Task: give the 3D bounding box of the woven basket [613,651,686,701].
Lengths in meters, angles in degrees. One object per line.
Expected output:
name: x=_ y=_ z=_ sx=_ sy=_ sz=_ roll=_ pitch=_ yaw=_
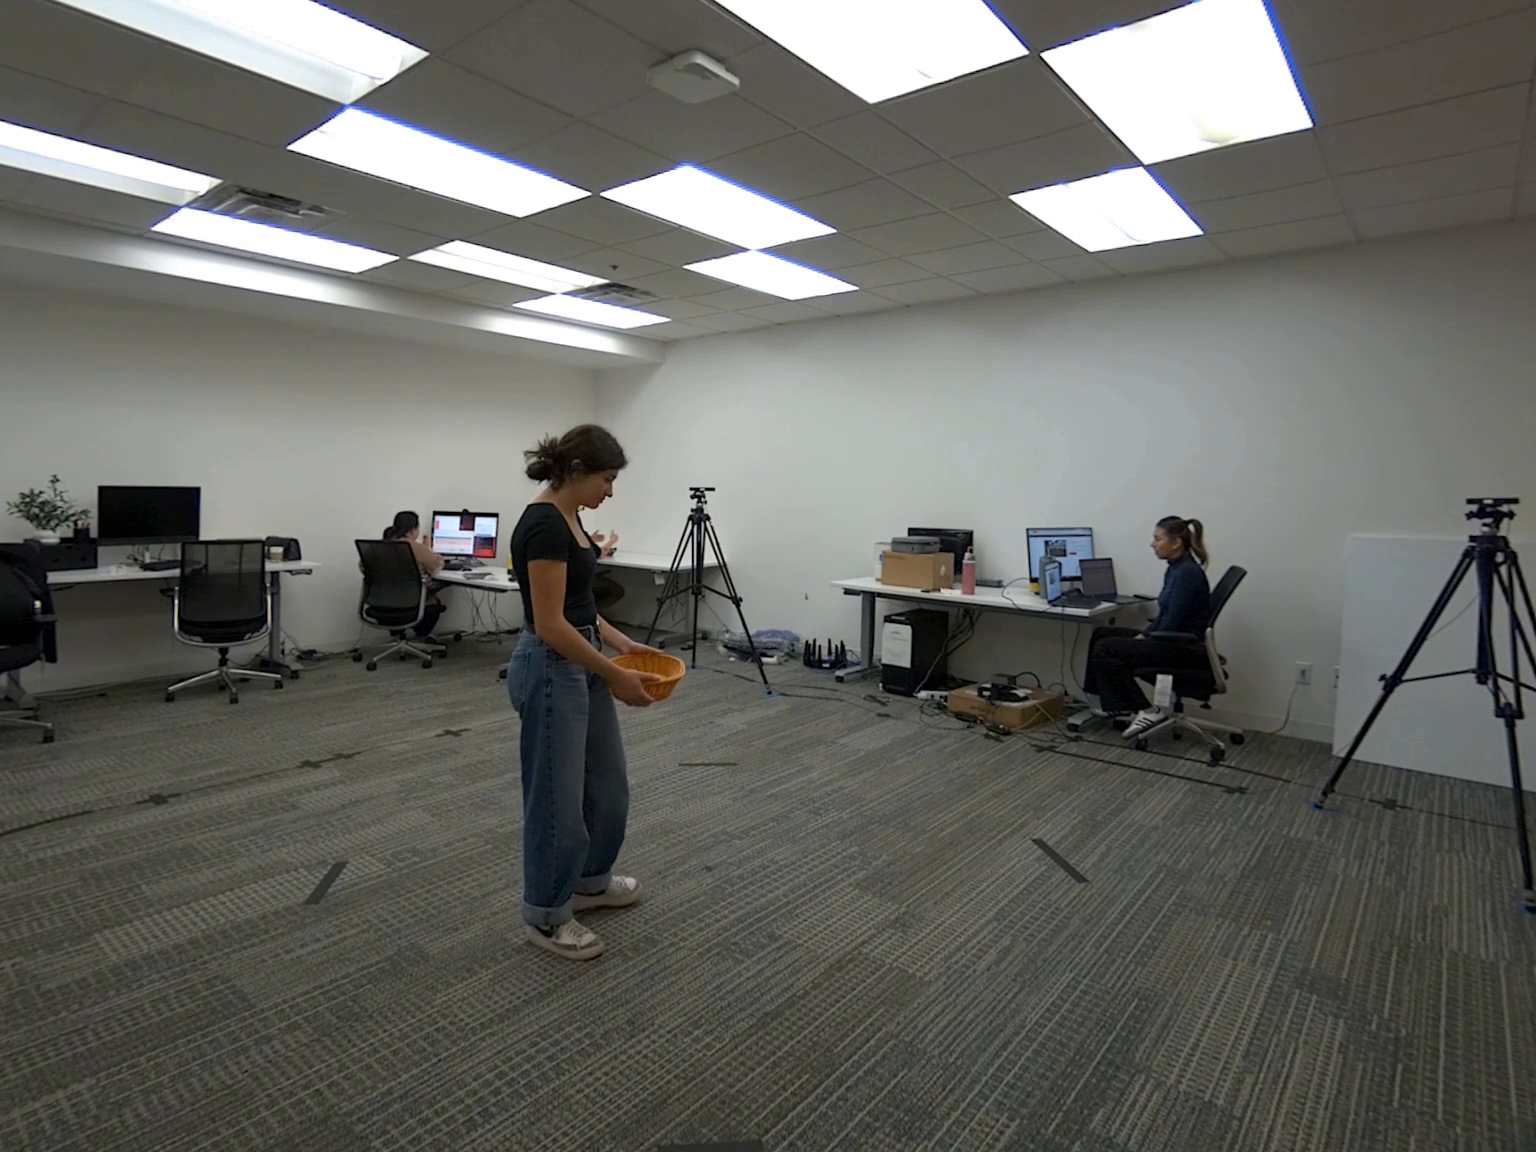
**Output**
woven basket: x=-0.393 y=0.313 z=2.550 sx=0.251 sy=0.073 sz=0.354 roll=0 pitch=8 yaw=-6
